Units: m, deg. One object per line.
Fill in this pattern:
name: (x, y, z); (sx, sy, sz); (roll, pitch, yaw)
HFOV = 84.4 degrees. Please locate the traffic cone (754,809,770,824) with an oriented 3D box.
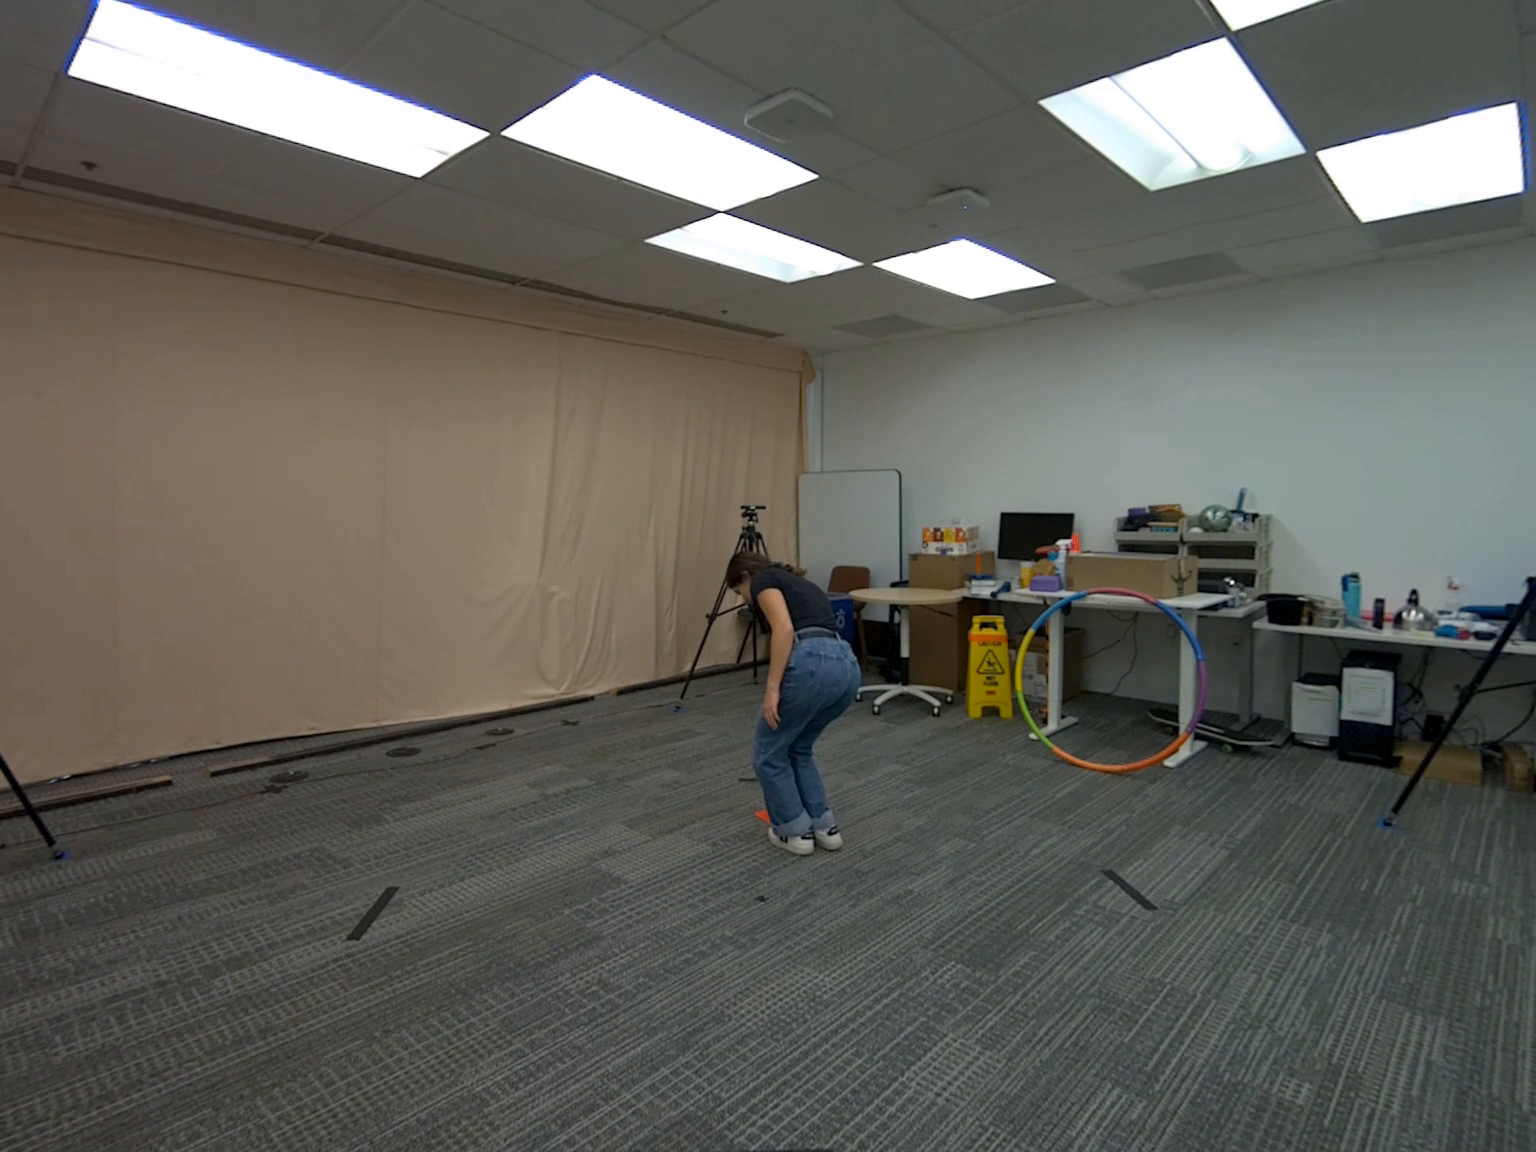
traffic cone: (0.078, 0.891, 3.771); (0.200, 0.383, 0.209); (-1, 3, -28)
